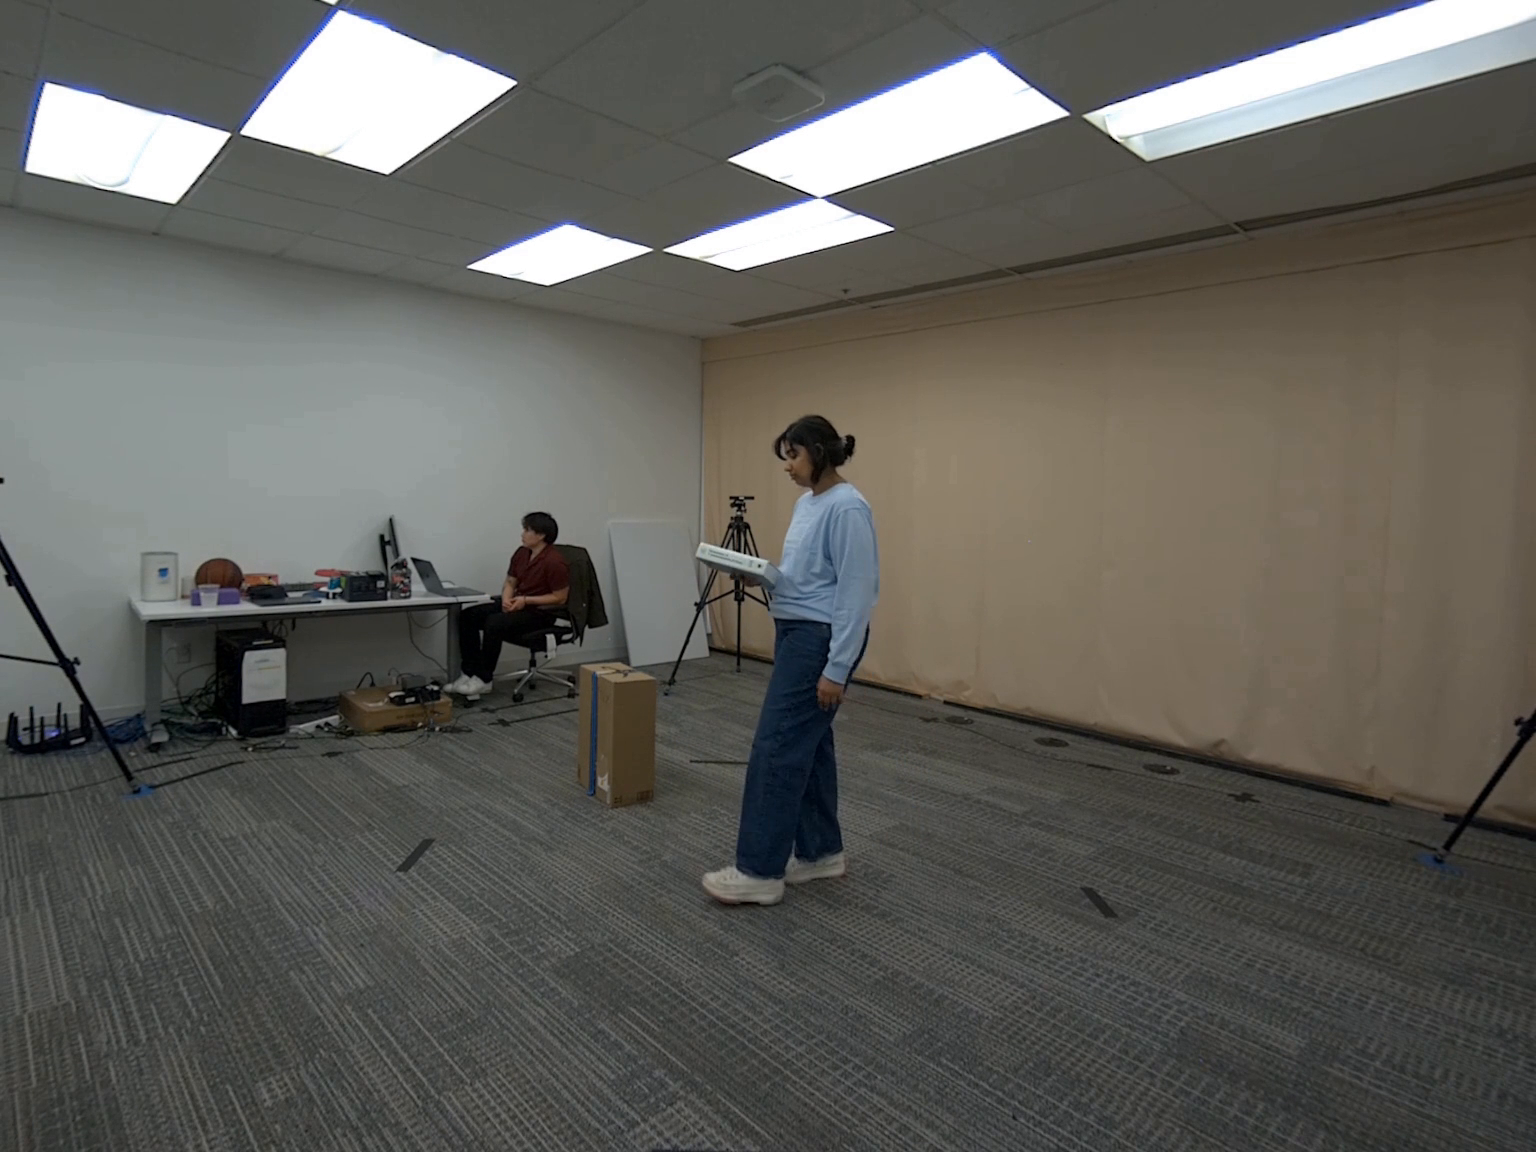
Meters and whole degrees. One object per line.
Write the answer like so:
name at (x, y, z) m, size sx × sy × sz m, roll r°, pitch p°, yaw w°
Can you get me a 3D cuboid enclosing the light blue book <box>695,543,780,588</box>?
light blue book at (-0.110, -0.037, 3.006) m, size 0.264 × 0.059 × 0.188 m, roll 16°, pitch -10°, yaw 11°
